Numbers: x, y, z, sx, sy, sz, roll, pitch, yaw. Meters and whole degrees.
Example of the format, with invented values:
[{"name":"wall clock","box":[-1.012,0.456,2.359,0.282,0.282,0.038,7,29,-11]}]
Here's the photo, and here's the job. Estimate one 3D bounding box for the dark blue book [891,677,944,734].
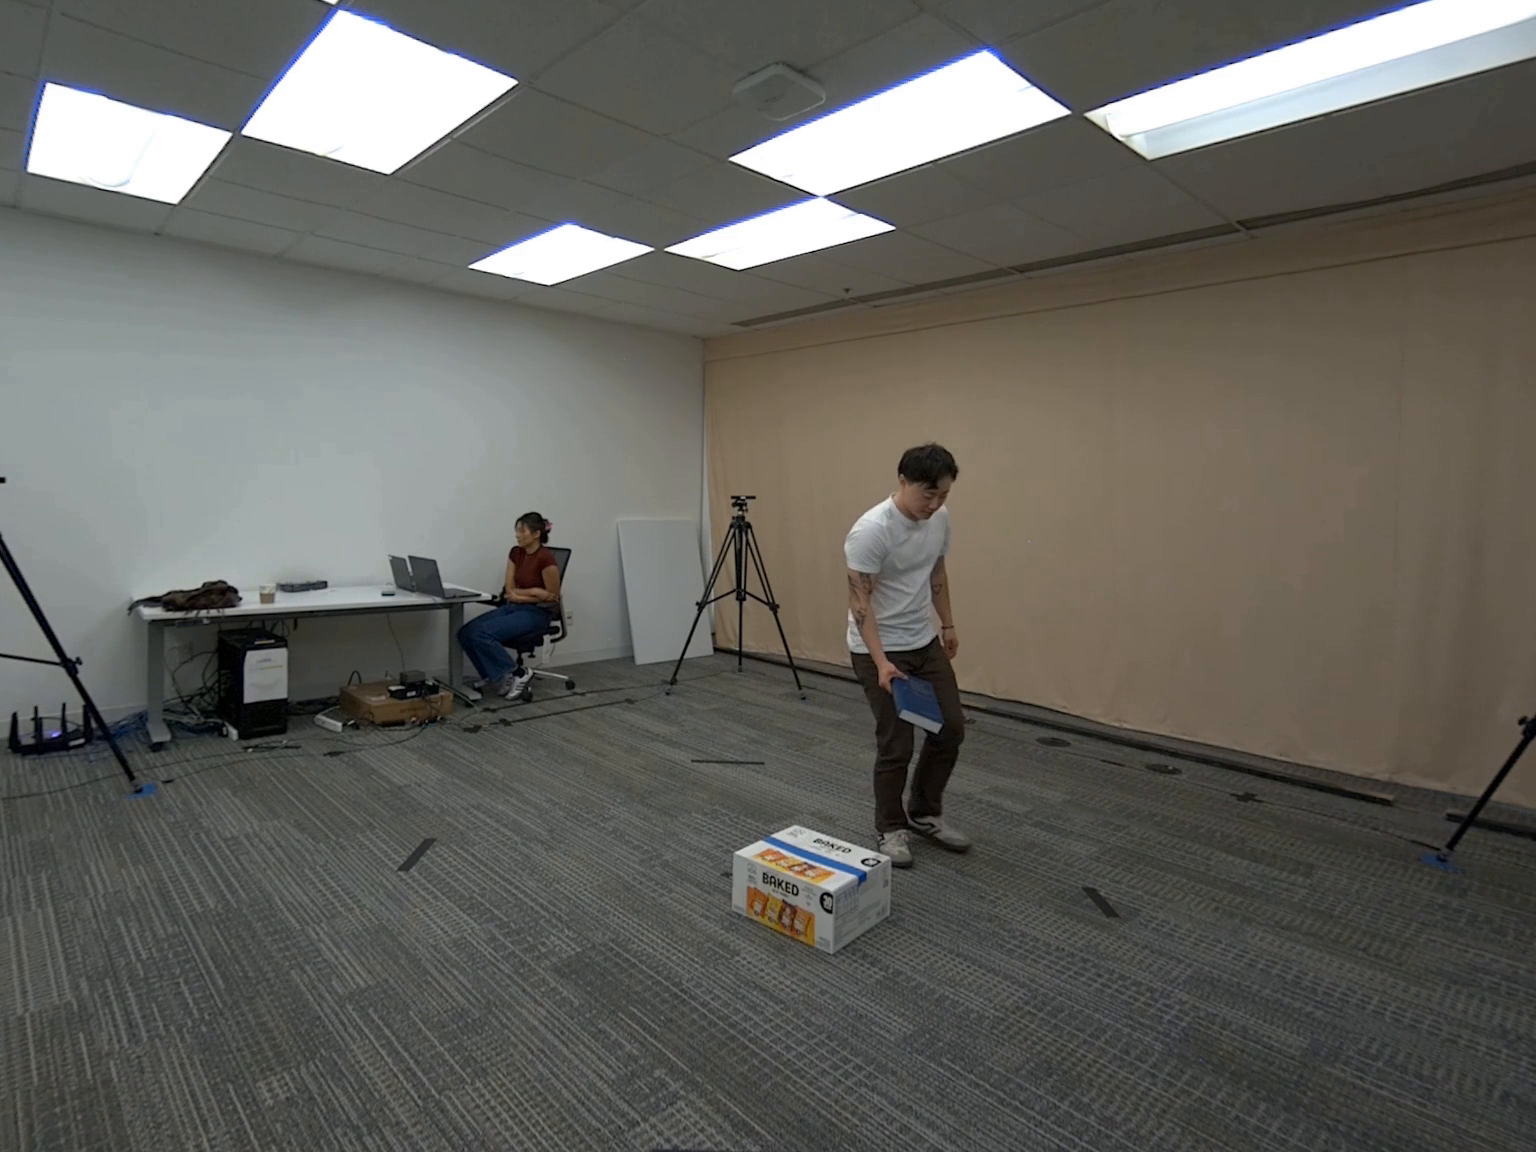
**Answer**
[{"name":"dark blue book","box":[0.530,0.455,2.979,0.162,0.045,0.249,21,24,-10]}]
